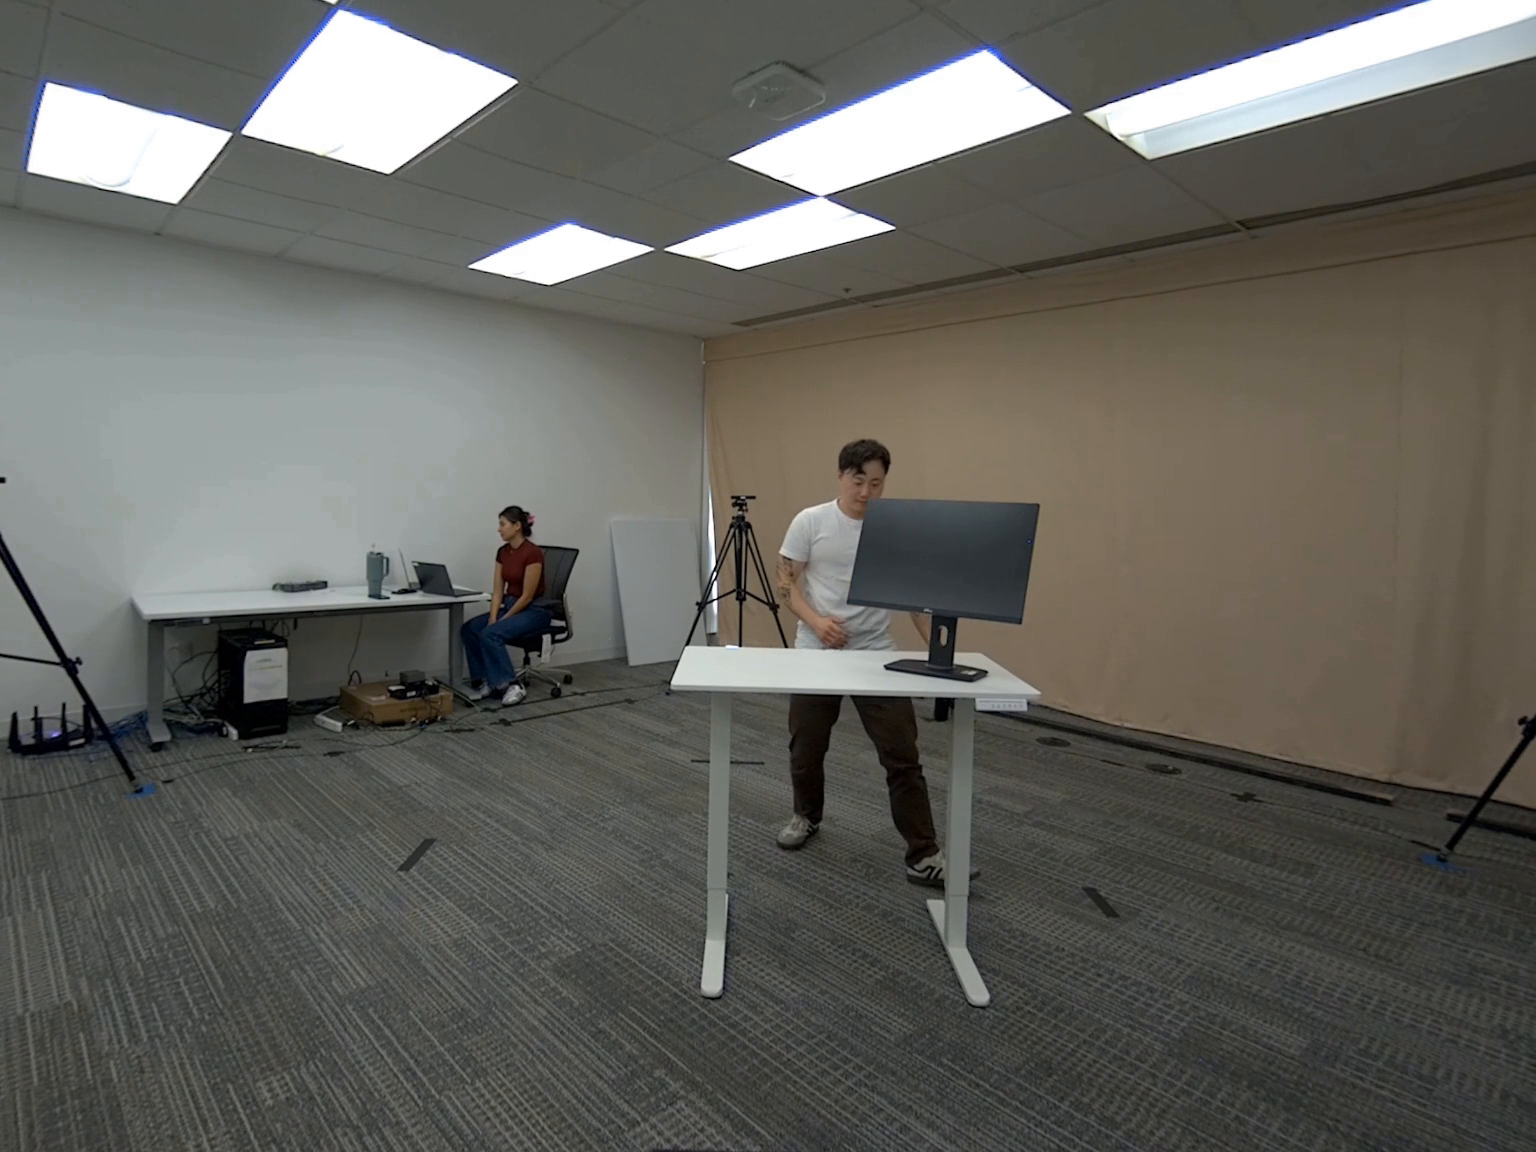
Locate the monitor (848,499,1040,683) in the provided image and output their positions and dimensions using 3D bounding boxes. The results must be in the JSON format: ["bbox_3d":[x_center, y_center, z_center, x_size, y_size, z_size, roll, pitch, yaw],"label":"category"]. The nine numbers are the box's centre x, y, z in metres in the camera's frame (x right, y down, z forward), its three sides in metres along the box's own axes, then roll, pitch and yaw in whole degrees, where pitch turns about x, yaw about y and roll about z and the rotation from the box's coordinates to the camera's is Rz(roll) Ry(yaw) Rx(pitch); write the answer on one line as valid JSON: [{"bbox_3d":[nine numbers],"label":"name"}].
[{"bbox_3d":[0.519,0.038,2.525,0.551,0.523,0.183,4,-1,30],"label":"monitor"}]
